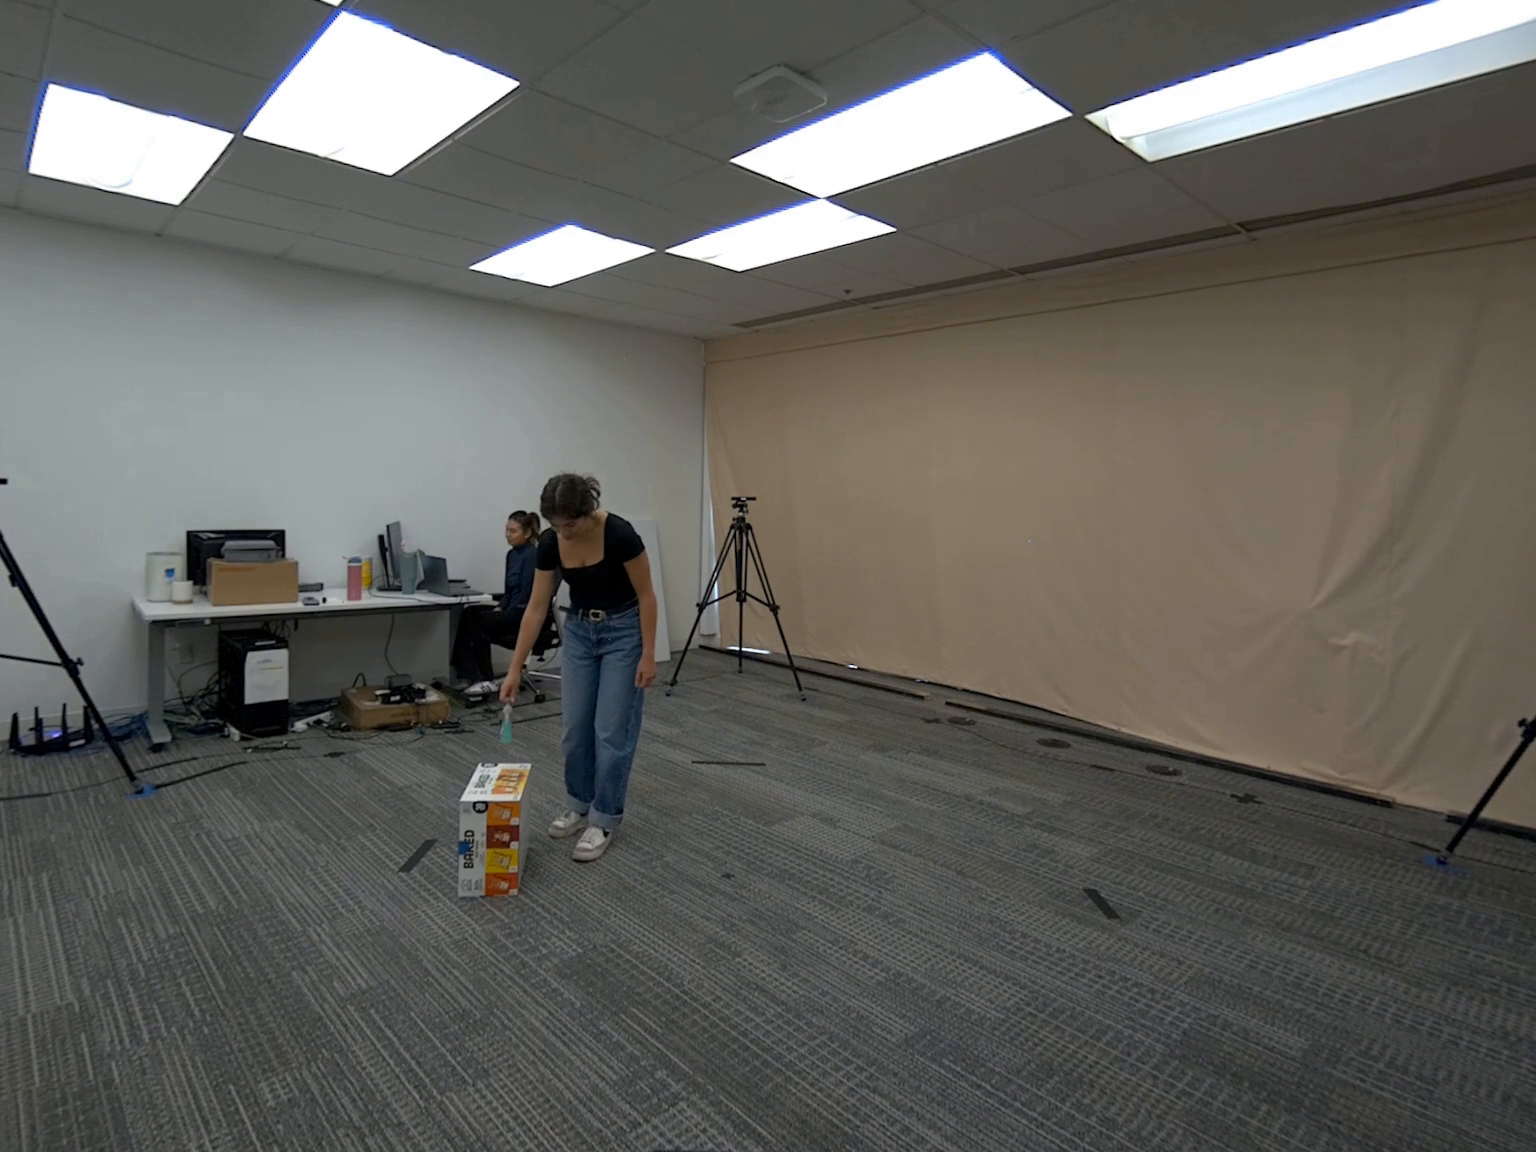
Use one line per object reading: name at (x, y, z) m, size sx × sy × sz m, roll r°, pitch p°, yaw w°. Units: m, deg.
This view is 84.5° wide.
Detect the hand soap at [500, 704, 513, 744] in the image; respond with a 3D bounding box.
hand soap at (-0.999, 0.554, 3.176) m, size 0.043 × 0.168 × 0.085 m, roll 2°, pitch -3°, yaw -9°
